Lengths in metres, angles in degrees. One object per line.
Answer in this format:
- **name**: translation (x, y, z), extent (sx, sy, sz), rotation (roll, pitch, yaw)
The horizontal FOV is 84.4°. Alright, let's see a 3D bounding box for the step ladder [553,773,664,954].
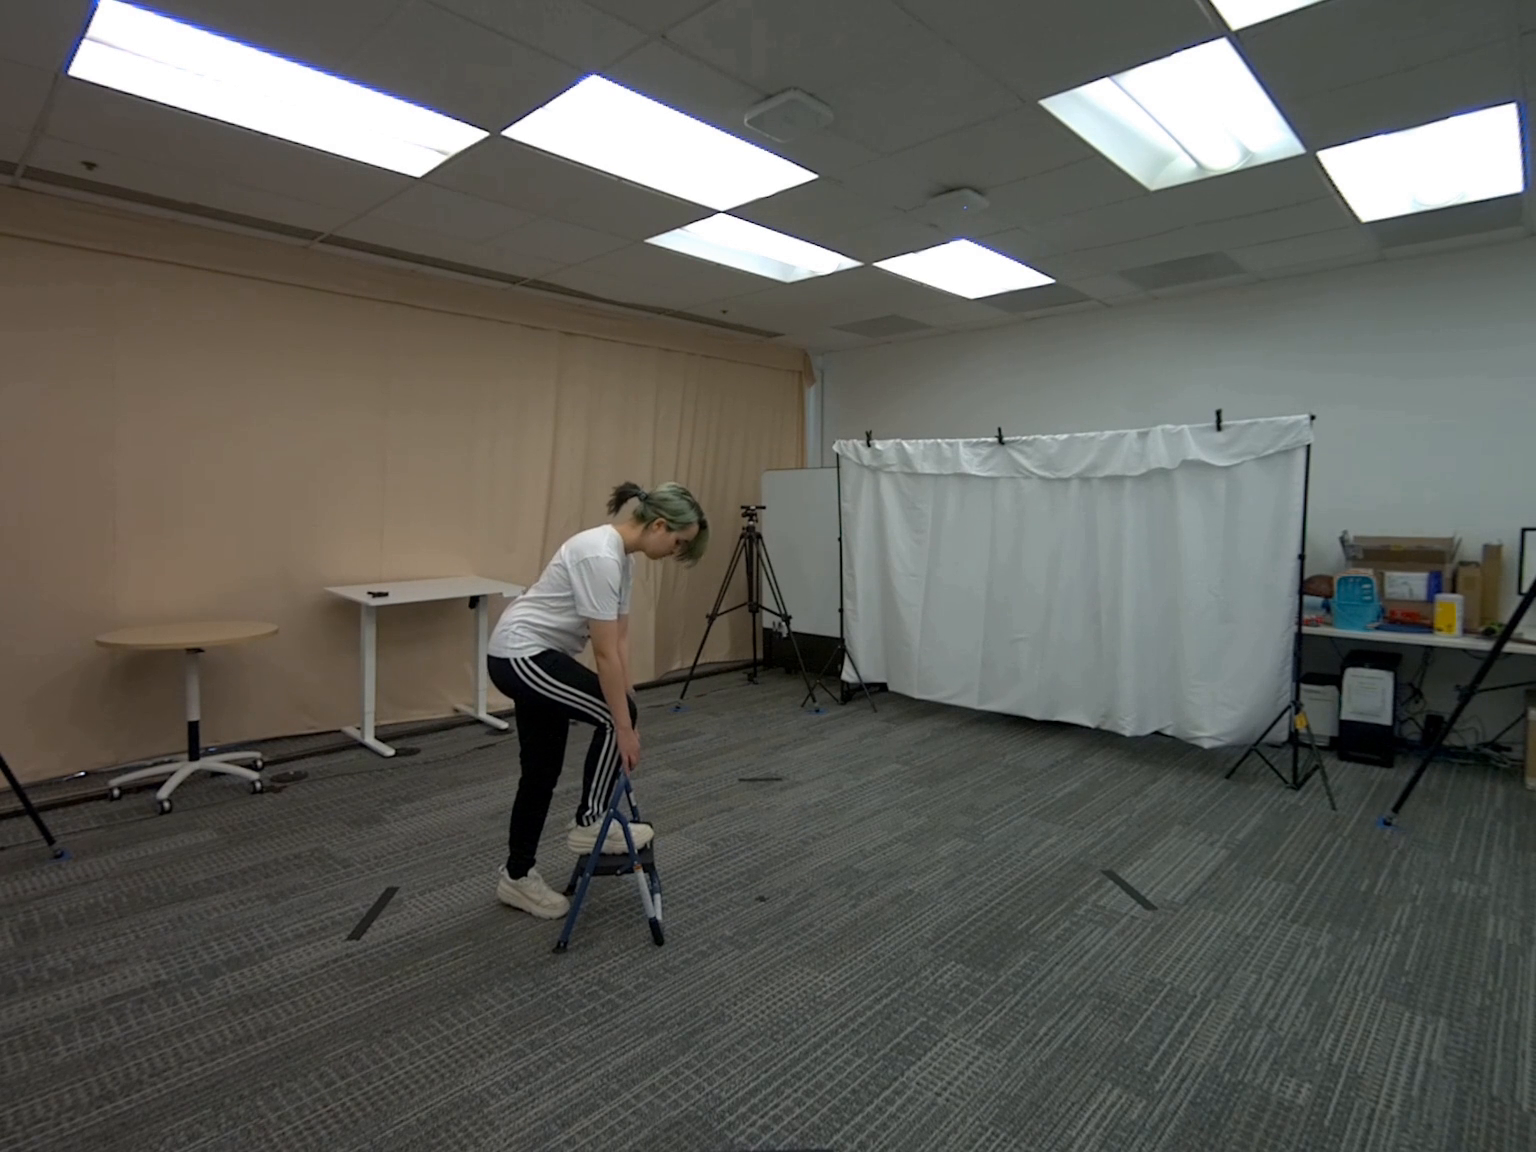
- **step ladder**: translation (-0.532, 0.863, 2.837), extent (0.347, 0.605, 0.434), rotation (-1, 3, -8)
